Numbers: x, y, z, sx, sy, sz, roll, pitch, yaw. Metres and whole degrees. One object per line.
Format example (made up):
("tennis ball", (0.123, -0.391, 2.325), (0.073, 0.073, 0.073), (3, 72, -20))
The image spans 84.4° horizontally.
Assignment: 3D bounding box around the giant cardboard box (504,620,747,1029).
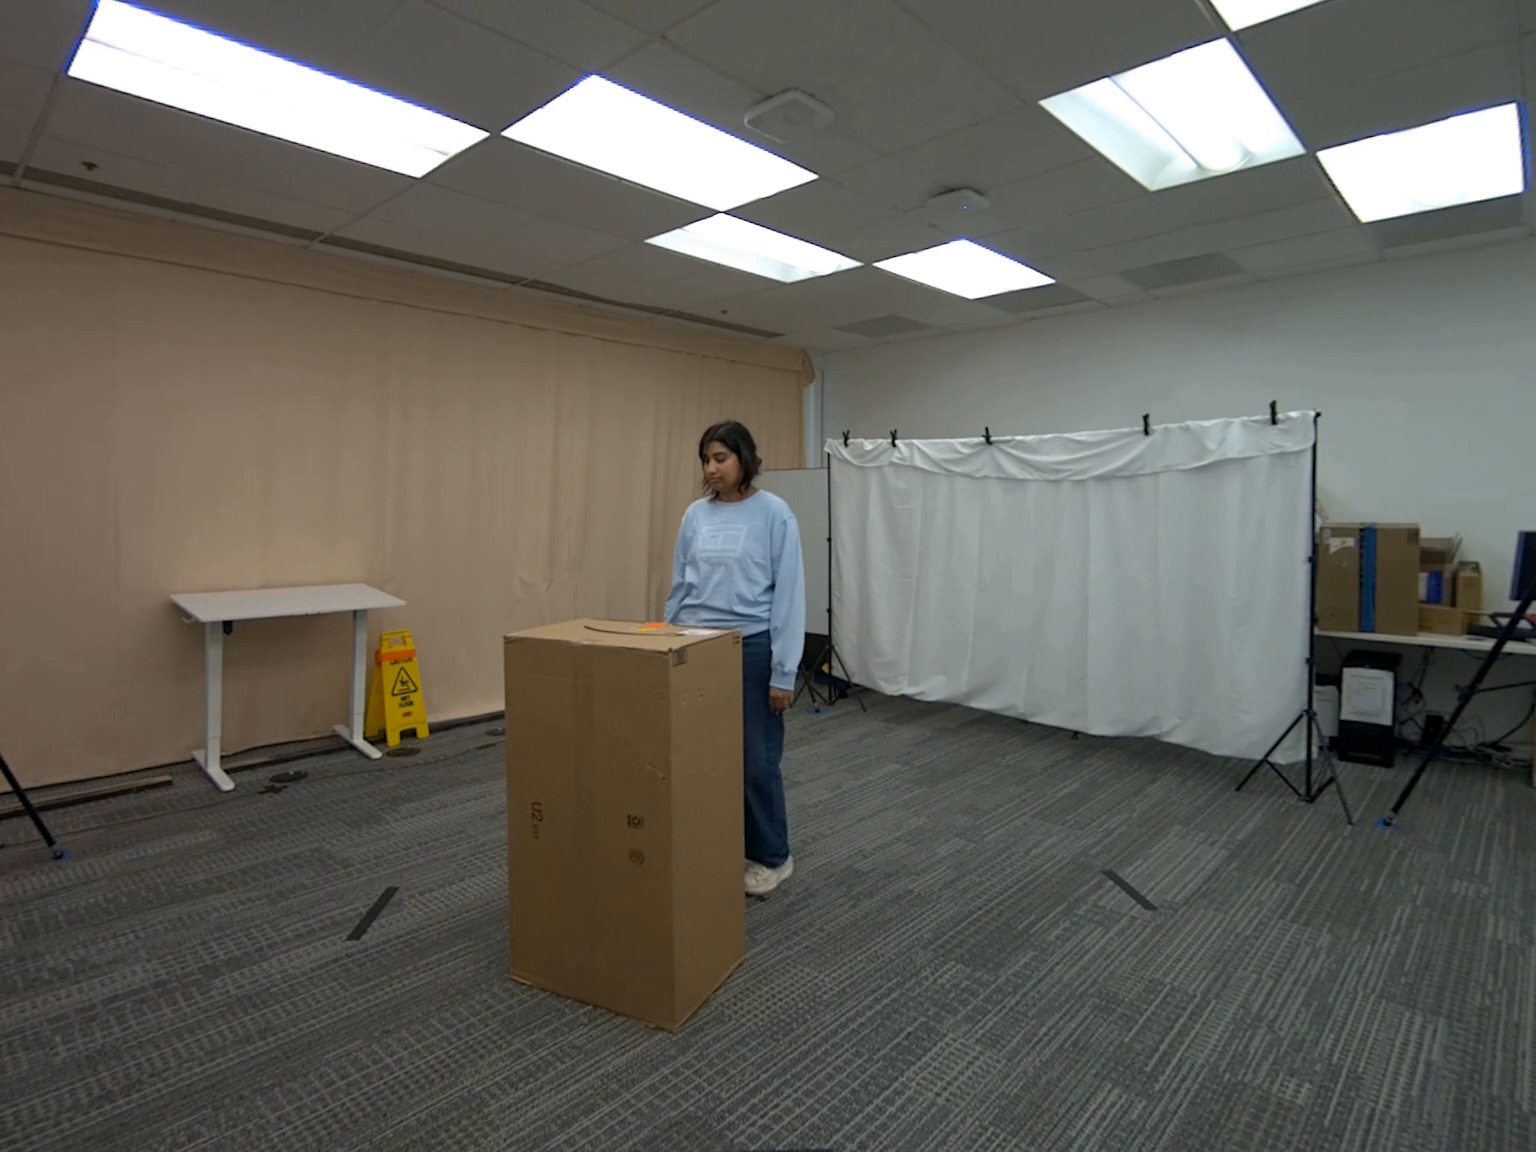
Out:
("giant cardboard box", (-0.427, 0.678, 2.515), (0.600, 1.025, 0.435), (1, 3, 29))
